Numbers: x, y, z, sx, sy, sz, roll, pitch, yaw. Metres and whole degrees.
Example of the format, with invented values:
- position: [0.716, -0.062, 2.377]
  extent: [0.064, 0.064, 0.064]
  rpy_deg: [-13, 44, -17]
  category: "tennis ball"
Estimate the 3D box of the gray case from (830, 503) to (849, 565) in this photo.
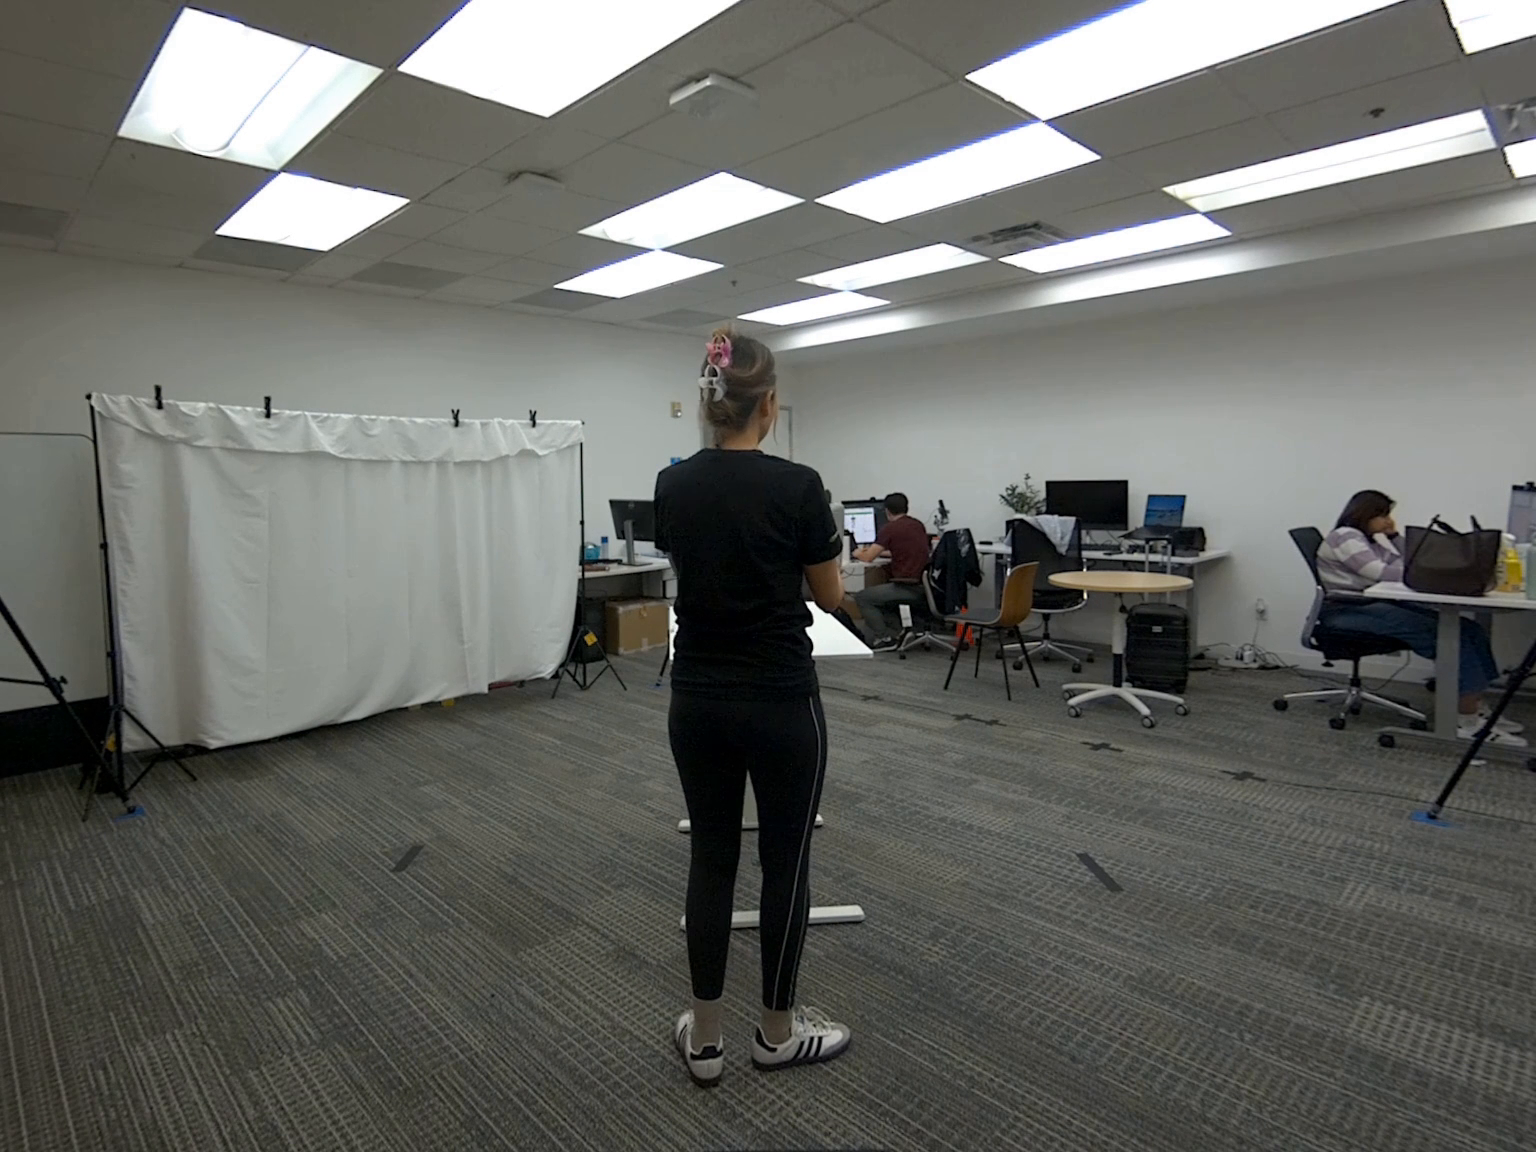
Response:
- position: [0.146, -0.080, 2.369]
  extent: [0.106, 0.258, 0.254]
  rpy_deg: [3, 11, 21]
  category: "gray case"
